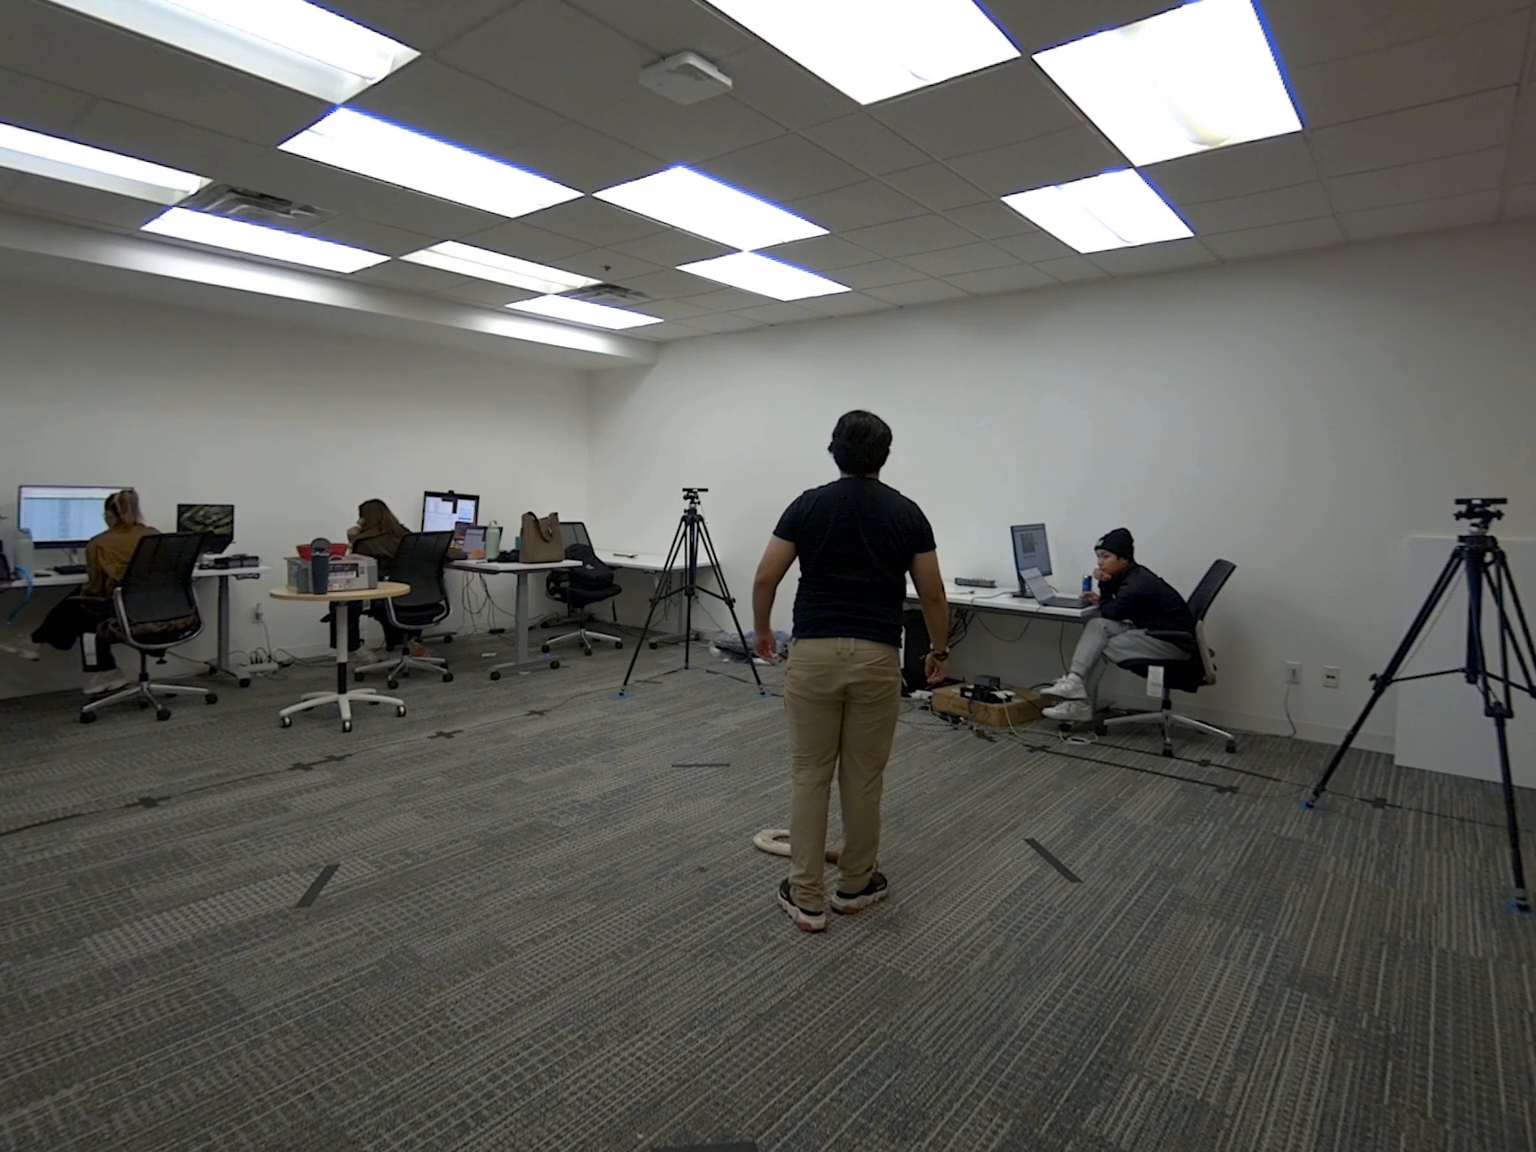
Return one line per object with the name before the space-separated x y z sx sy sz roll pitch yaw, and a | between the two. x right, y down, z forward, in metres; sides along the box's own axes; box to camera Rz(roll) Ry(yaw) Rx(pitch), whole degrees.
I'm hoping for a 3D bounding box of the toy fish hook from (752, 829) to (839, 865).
toy fish hook | 0.182 1.040 3.268 0.521 0.048 0.219 4 7 27
